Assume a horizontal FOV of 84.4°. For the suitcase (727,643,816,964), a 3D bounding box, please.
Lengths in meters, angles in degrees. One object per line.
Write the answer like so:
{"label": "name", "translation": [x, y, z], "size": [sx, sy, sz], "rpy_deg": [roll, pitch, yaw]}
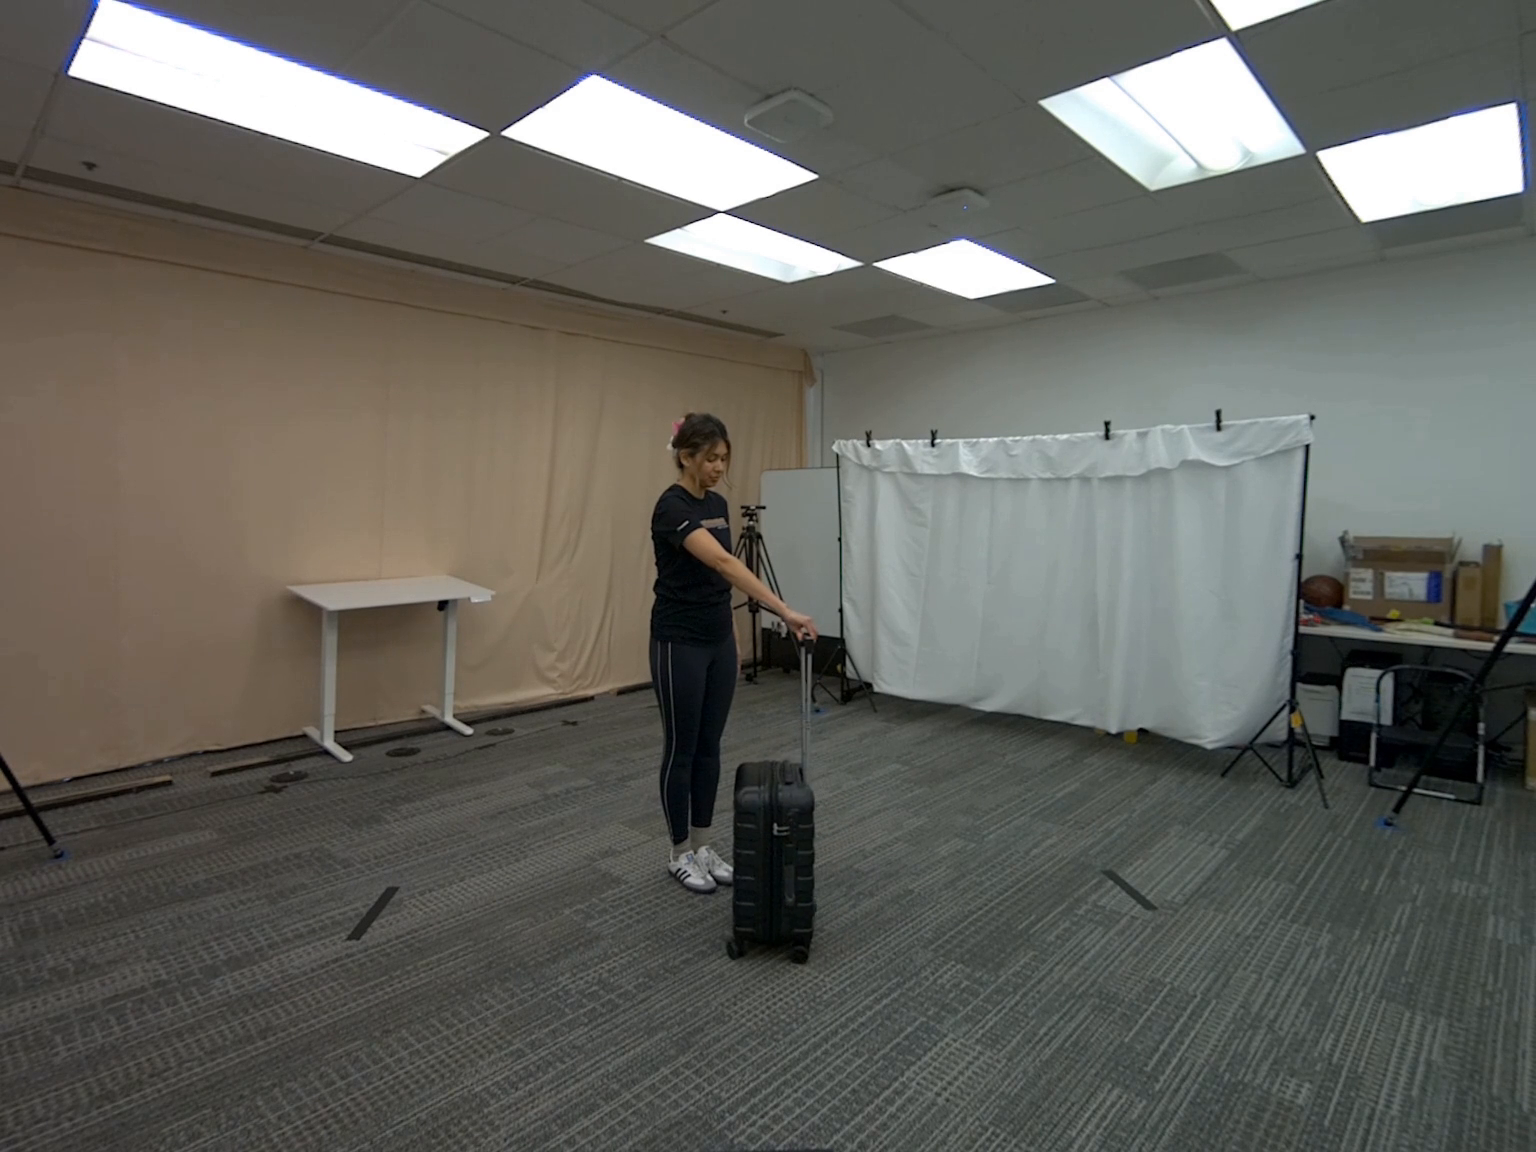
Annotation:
{"label": "suitcase", "translation": [0.020, 0.692, 2.696], "size": [0.257, 0.977, 0.384], "rpy_deg": [-1, 3, 0]}
